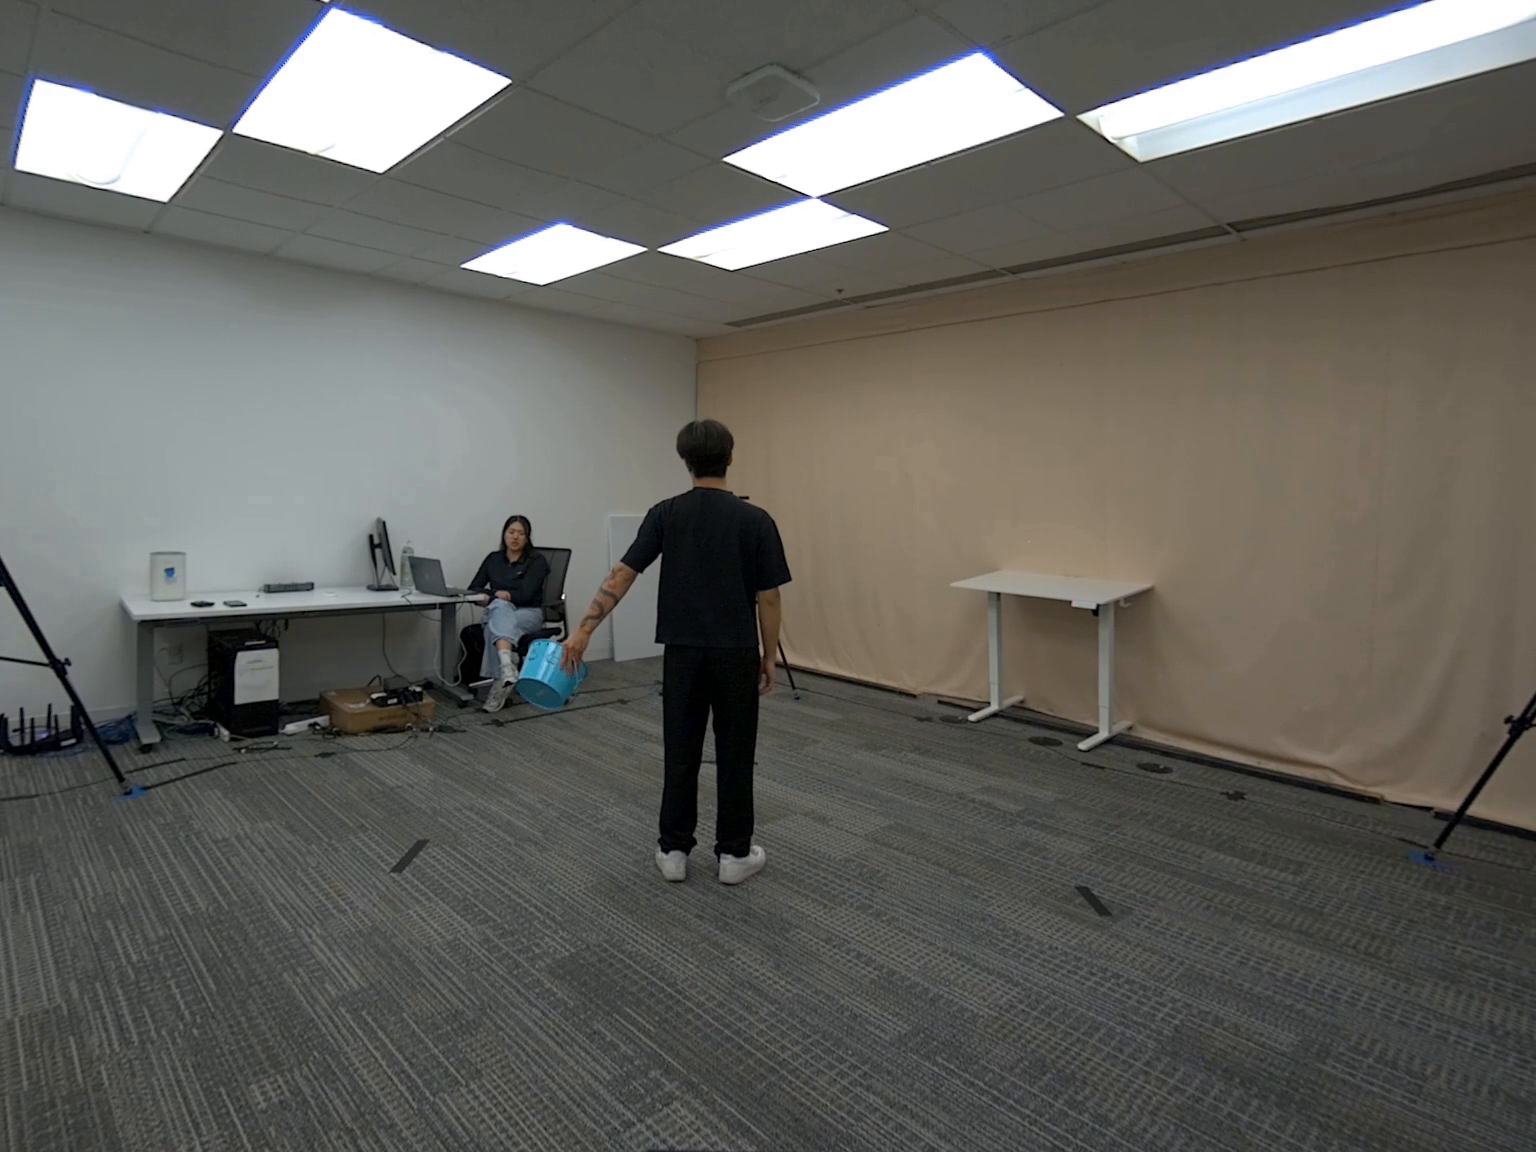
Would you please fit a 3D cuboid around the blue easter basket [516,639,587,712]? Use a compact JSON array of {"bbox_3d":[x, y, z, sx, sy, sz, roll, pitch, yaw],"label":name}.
[{"bbox_3d":[-0.775,0.369,3.001,0.248,0.237,0.157,3,46,21],"label":"blue easter basket"}]
